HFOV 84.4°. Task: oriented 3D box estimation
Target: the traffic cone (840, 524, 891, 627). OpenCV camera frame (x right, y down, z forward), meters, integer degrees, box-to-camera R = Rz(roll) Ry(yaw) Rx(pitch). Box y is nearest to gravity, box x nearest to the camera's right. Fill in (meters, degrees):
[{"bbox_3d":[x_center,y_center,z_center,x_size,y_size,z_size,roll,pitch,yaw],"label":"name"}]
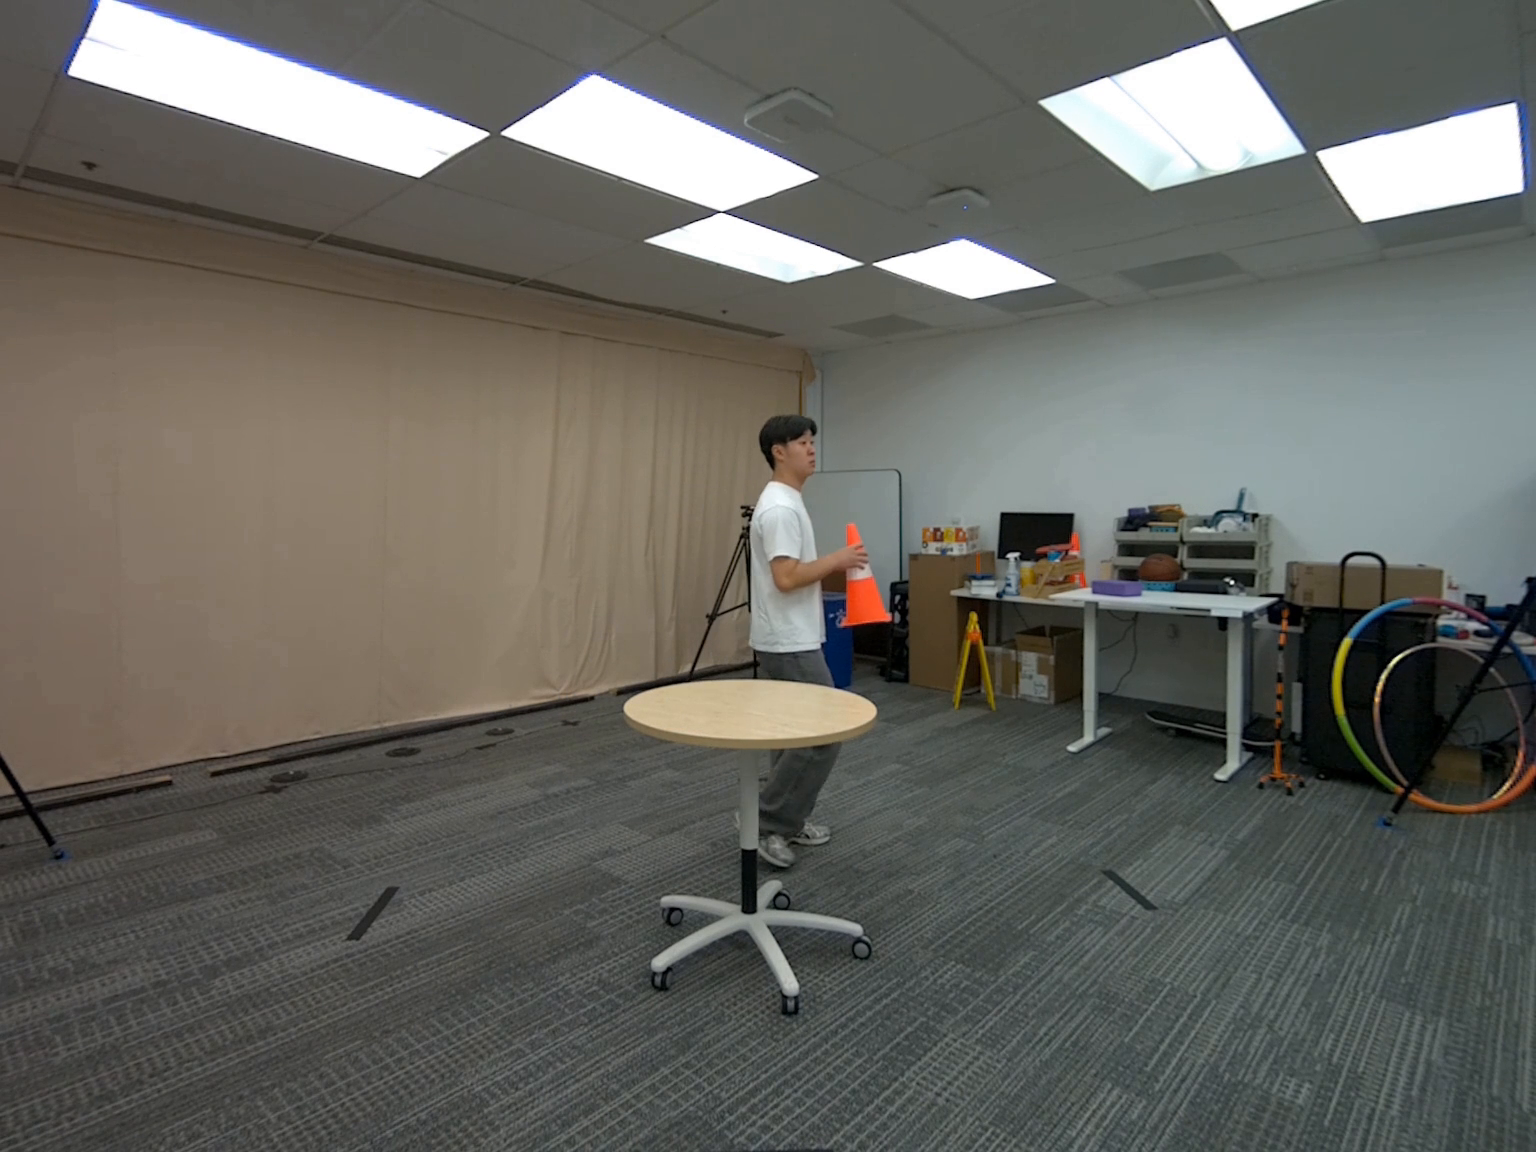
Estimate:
[{"bbox_3d":[0.358,-0.010,3.314,0.206,0.382,0.202,-8,4,14],"label":"traffic cone"}]
